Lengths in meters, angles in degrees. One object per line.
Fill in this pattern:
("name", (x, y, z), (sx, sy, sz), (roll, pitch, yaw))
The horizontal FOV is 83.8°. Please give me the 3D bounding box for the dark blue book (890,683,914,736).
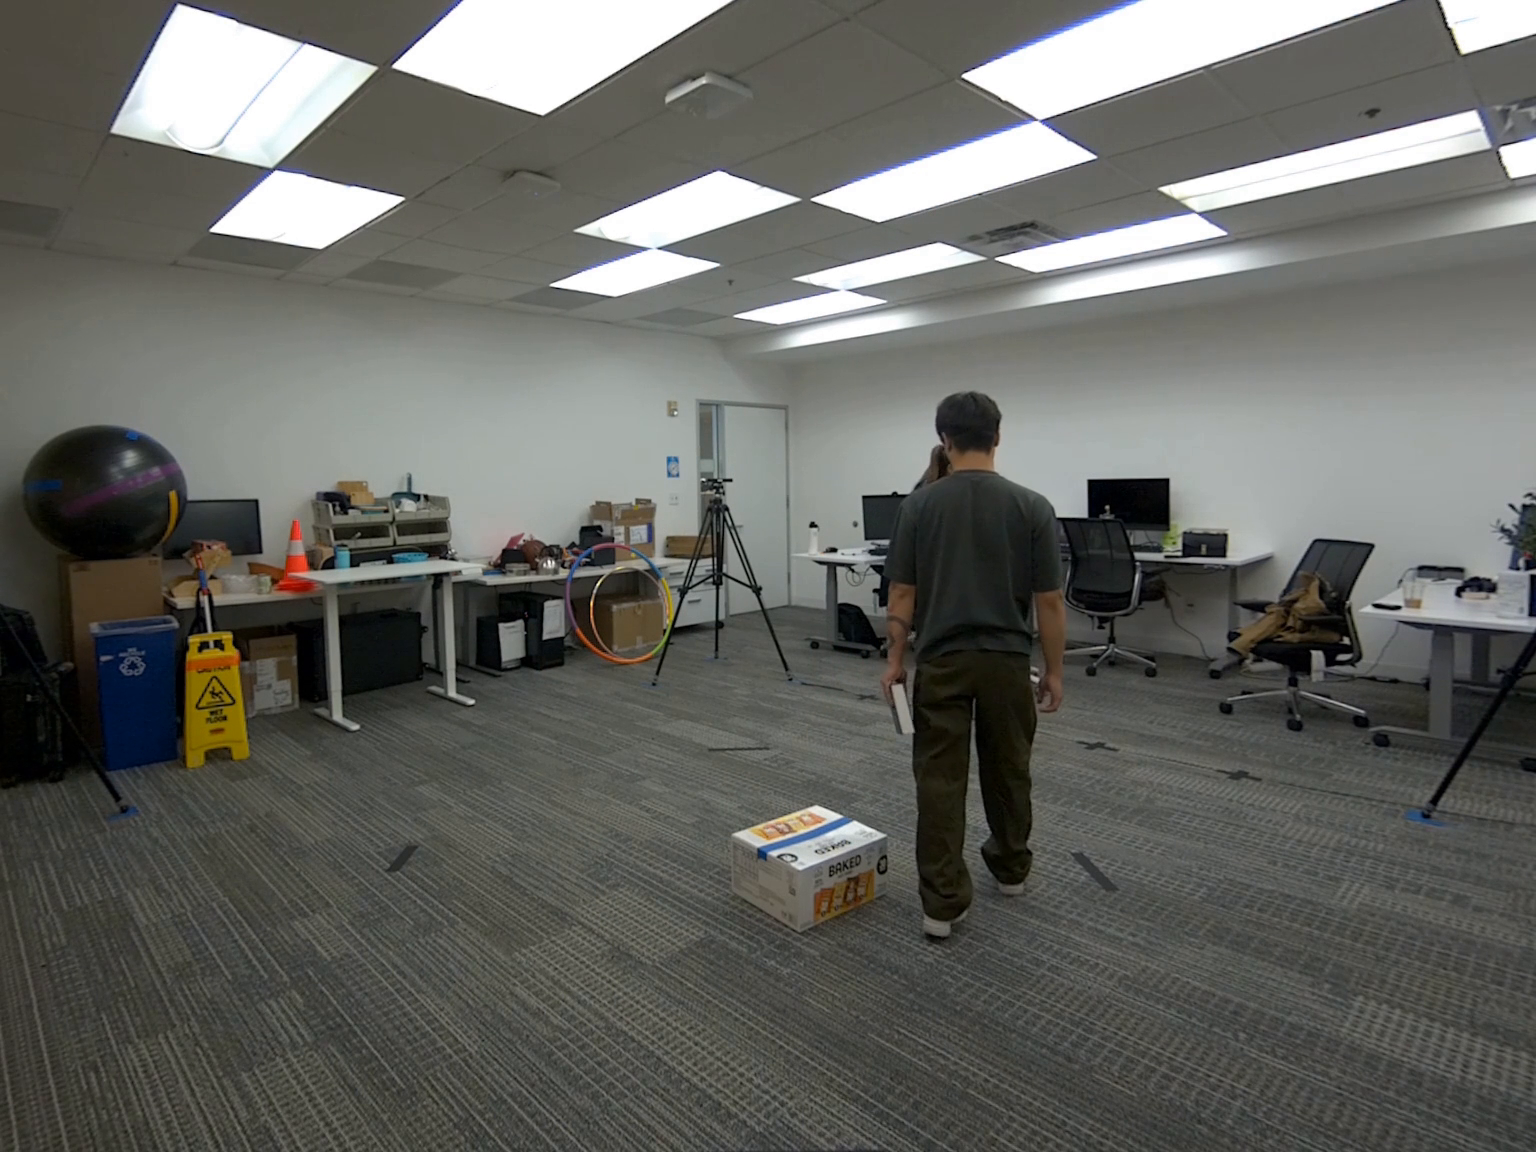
("dark blue book", (0.447, 0.436, 2.821), (0.045, 0.165, 0.244), (-7, -6, -3))
